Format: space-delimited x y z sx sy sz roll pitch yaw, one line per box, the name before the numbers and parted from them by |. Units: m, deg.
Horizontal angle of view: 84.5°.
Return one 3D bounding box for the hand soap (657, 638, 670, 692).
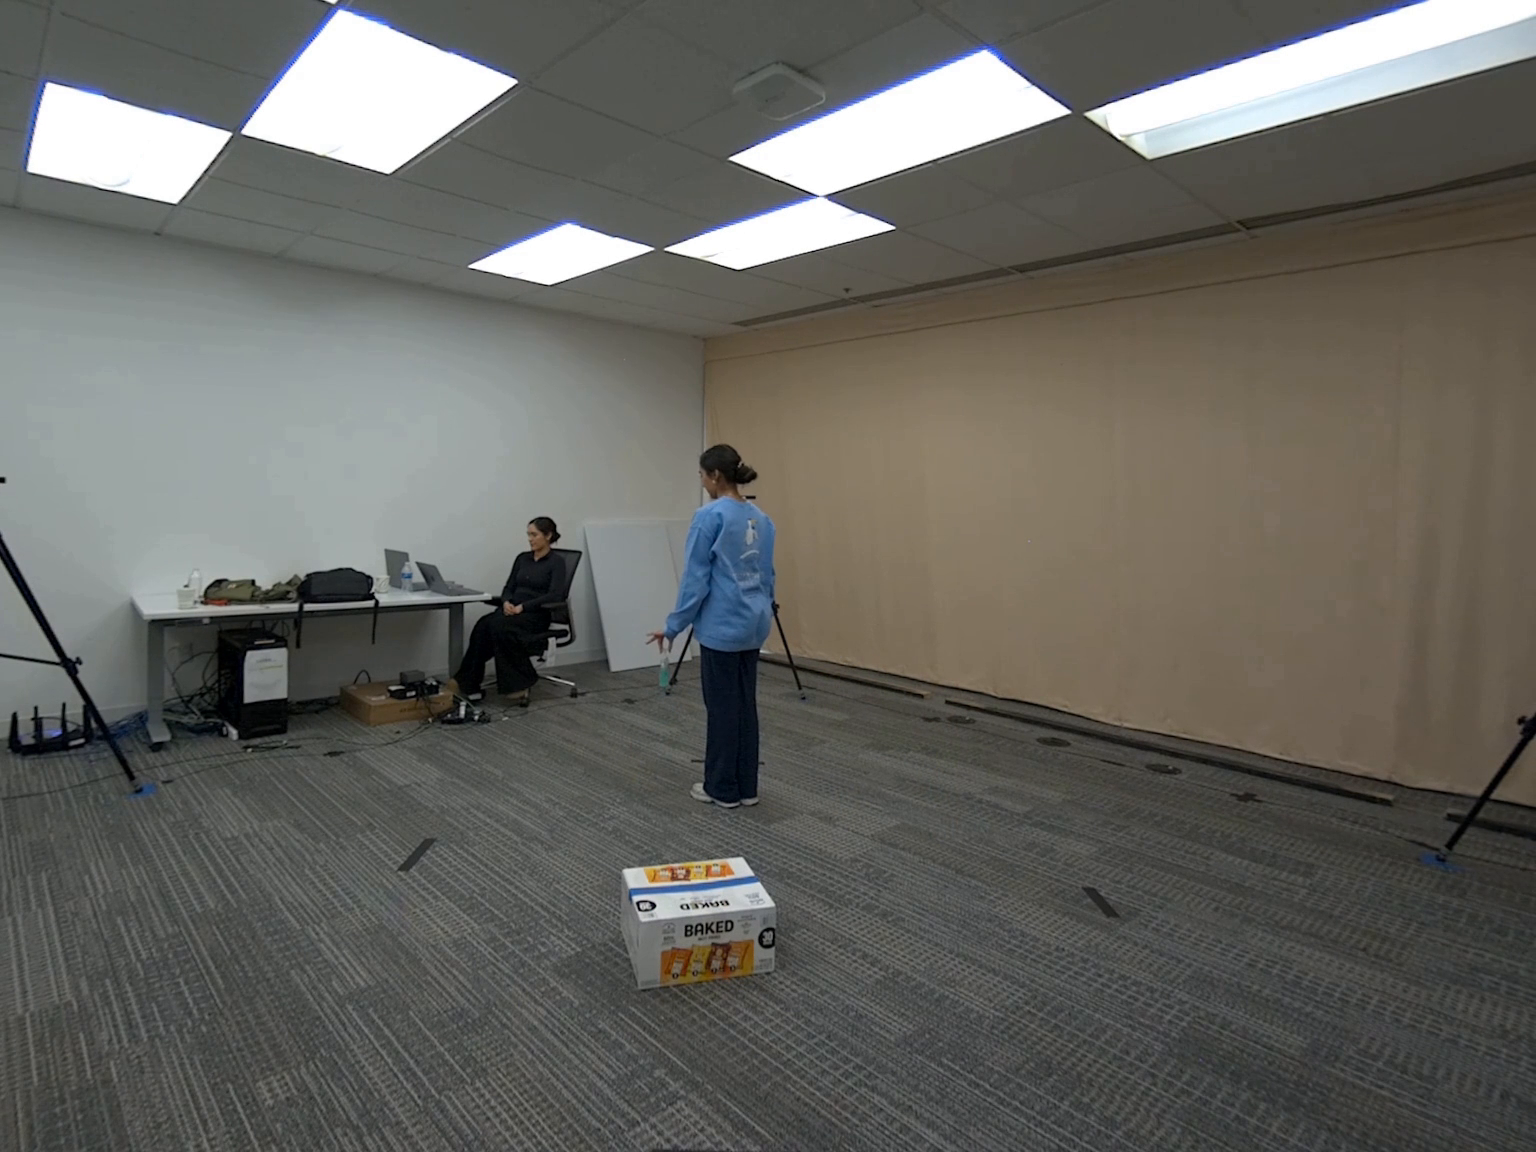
hand soap | -0.474 0.407 3.810 0.043 0.168 0.084 2 3 2
